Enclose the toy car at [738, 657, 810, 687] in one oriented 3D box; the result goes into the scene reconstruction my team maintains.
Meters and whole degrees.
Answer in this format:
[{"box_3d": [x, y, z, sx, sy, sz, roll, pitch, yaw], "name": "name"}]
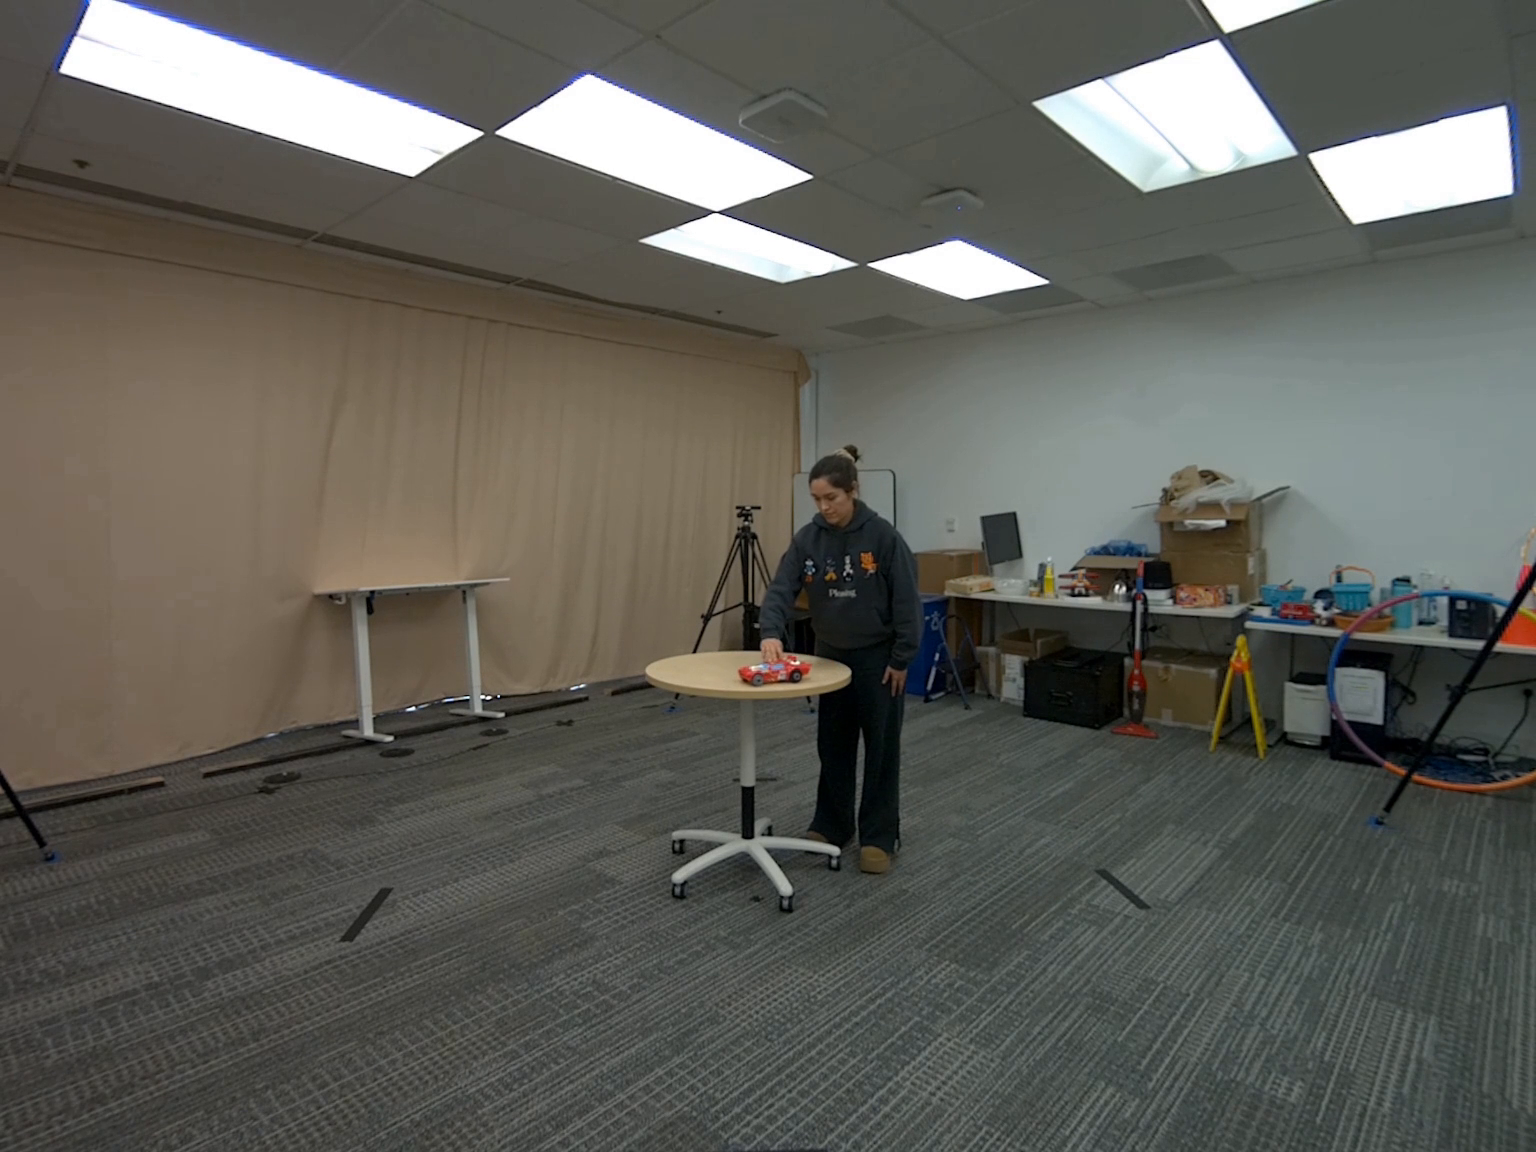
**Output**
[{"box_3d": [0.046, 0.332, 2.923, 0.250, 0.083, 0.133, -15, 9, -19], "name": "toy car"}]
